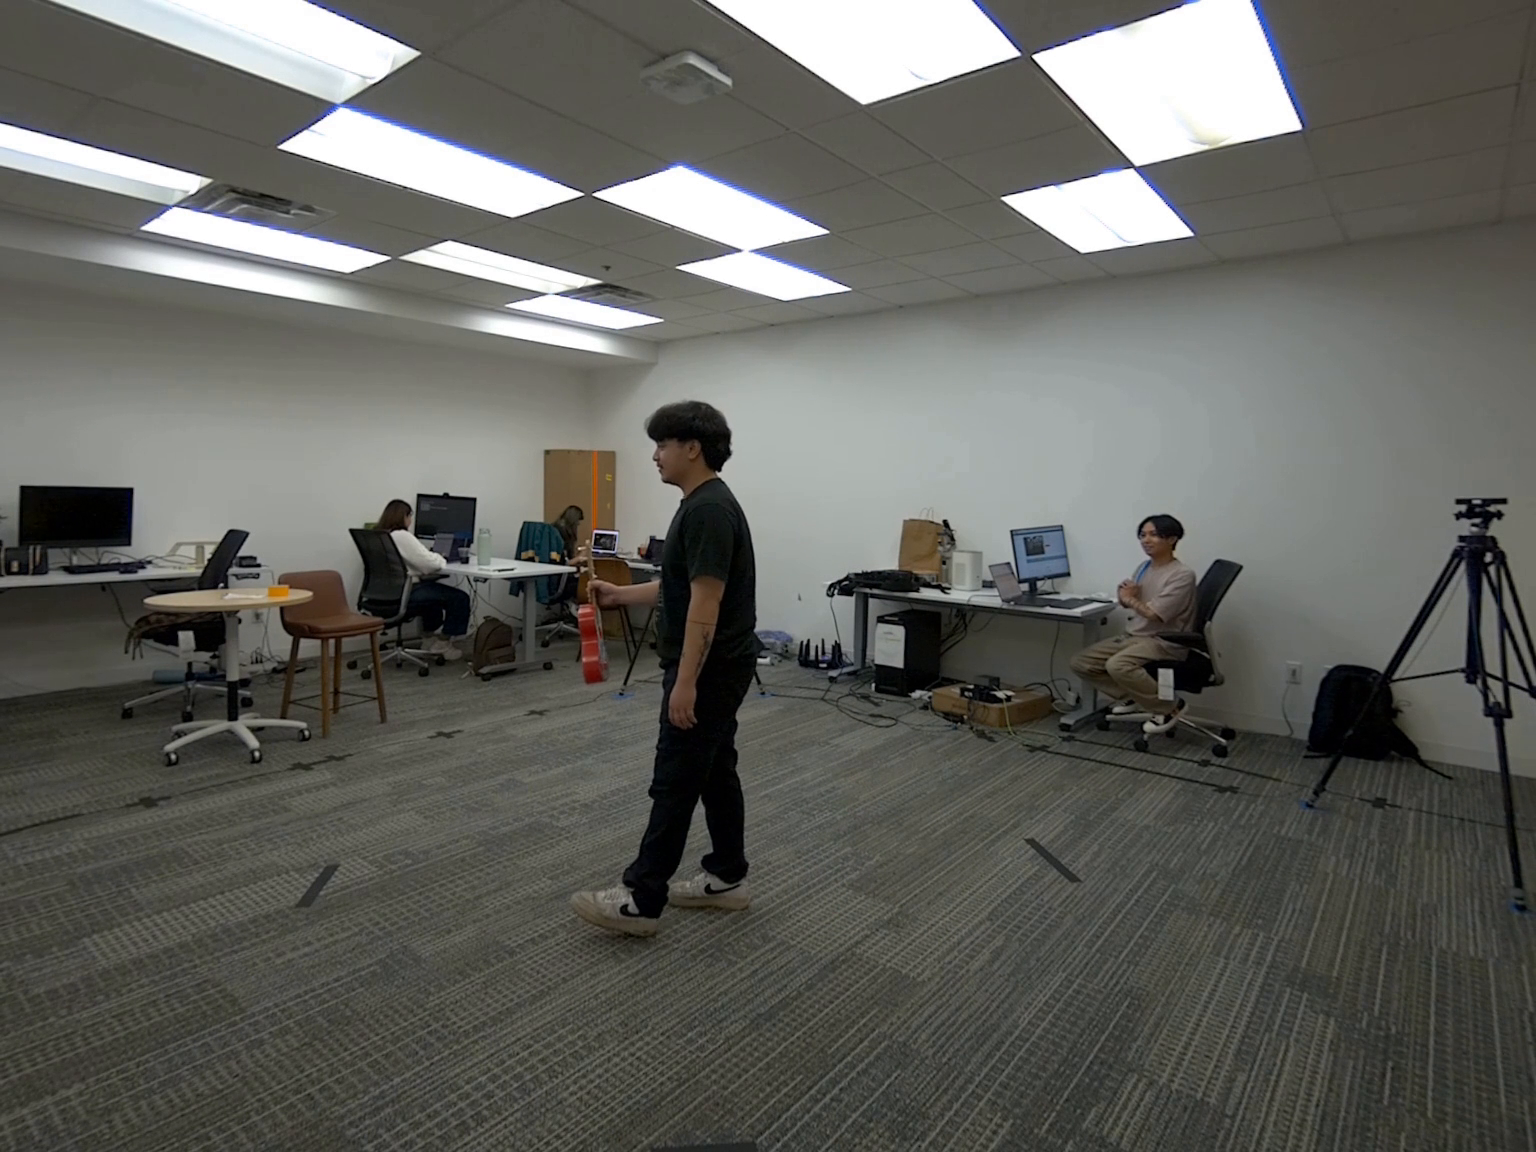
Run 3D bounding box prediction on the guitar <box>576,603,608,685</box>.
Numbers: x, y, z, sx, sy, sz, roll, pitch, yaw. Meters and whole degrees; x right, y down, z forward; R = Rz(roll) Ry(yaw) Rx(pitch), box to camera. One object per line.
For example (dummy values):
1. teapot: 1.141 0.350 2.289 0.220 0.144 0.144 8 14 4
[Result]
1. guitar: -0.645 0.131 3.026 0.070 0.504 0.191 -9 -11 -5
